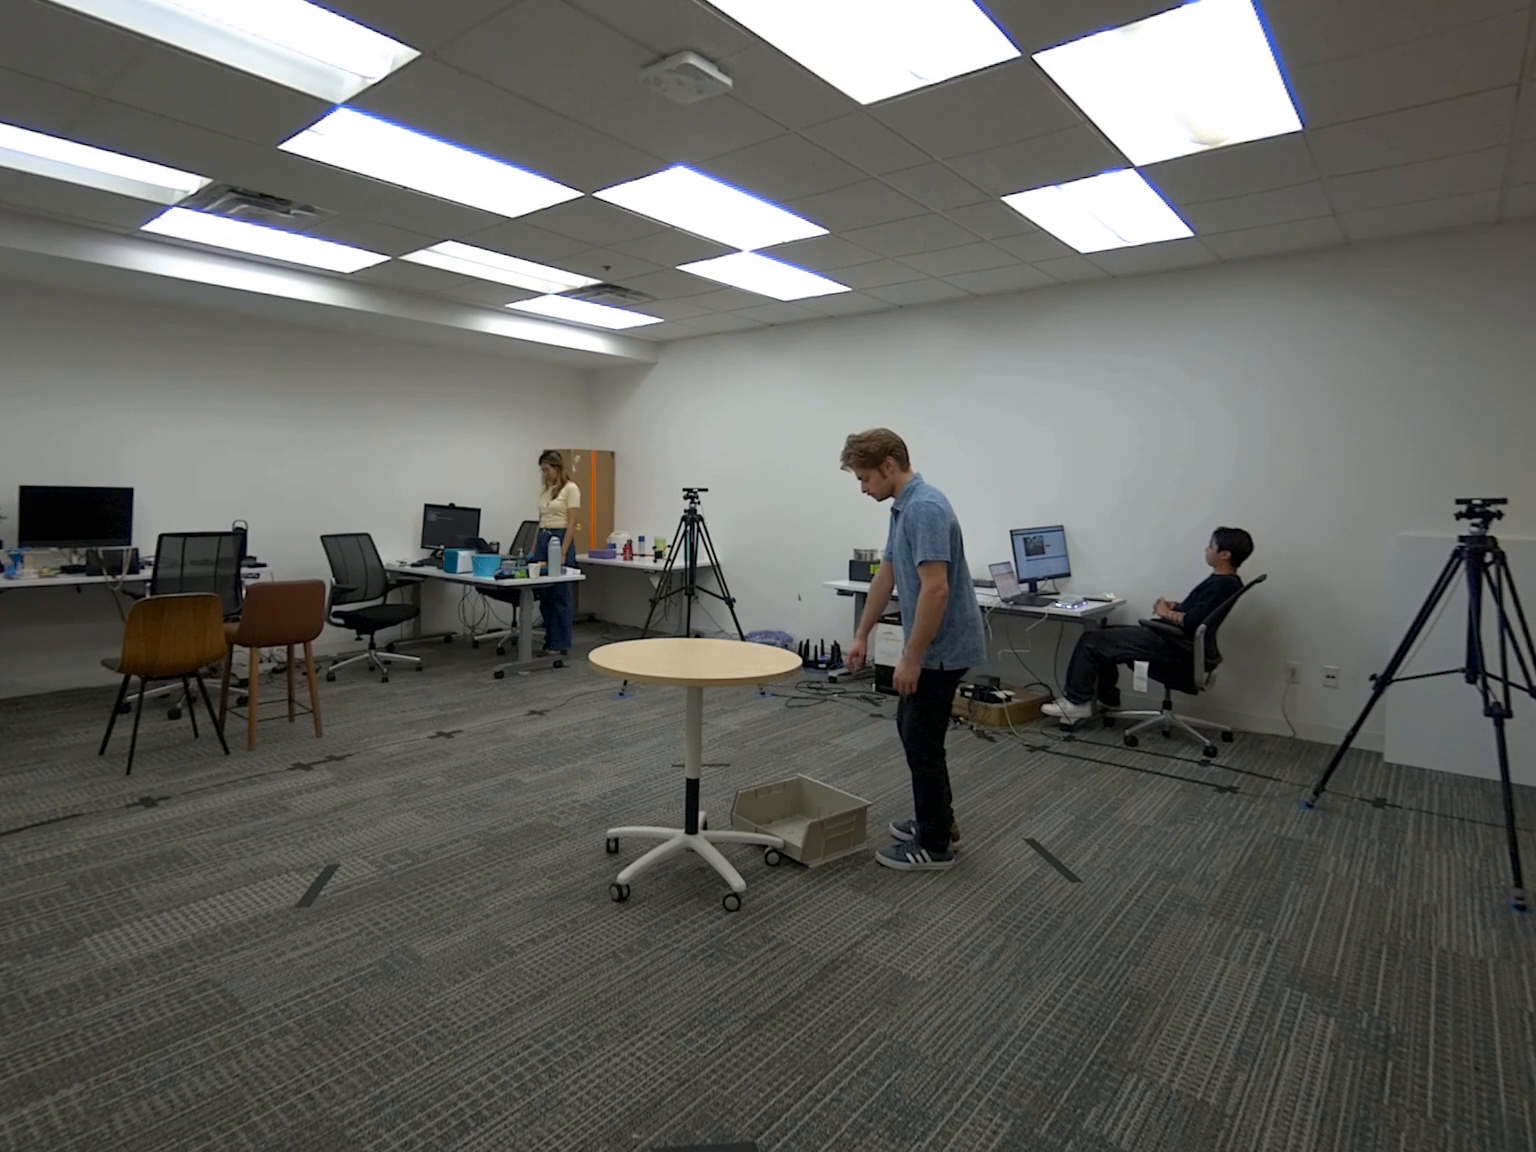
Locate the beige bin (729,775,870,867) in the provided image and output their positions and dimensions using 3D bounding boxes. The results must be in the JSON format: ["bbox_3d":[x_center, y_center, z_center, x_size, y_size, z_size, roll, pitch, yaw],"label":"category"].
[{"bbox_3d":[0.124,0.962,3.373,0.366,0.188,0.437,-1,5,-41],"label":"beige bin"}]
